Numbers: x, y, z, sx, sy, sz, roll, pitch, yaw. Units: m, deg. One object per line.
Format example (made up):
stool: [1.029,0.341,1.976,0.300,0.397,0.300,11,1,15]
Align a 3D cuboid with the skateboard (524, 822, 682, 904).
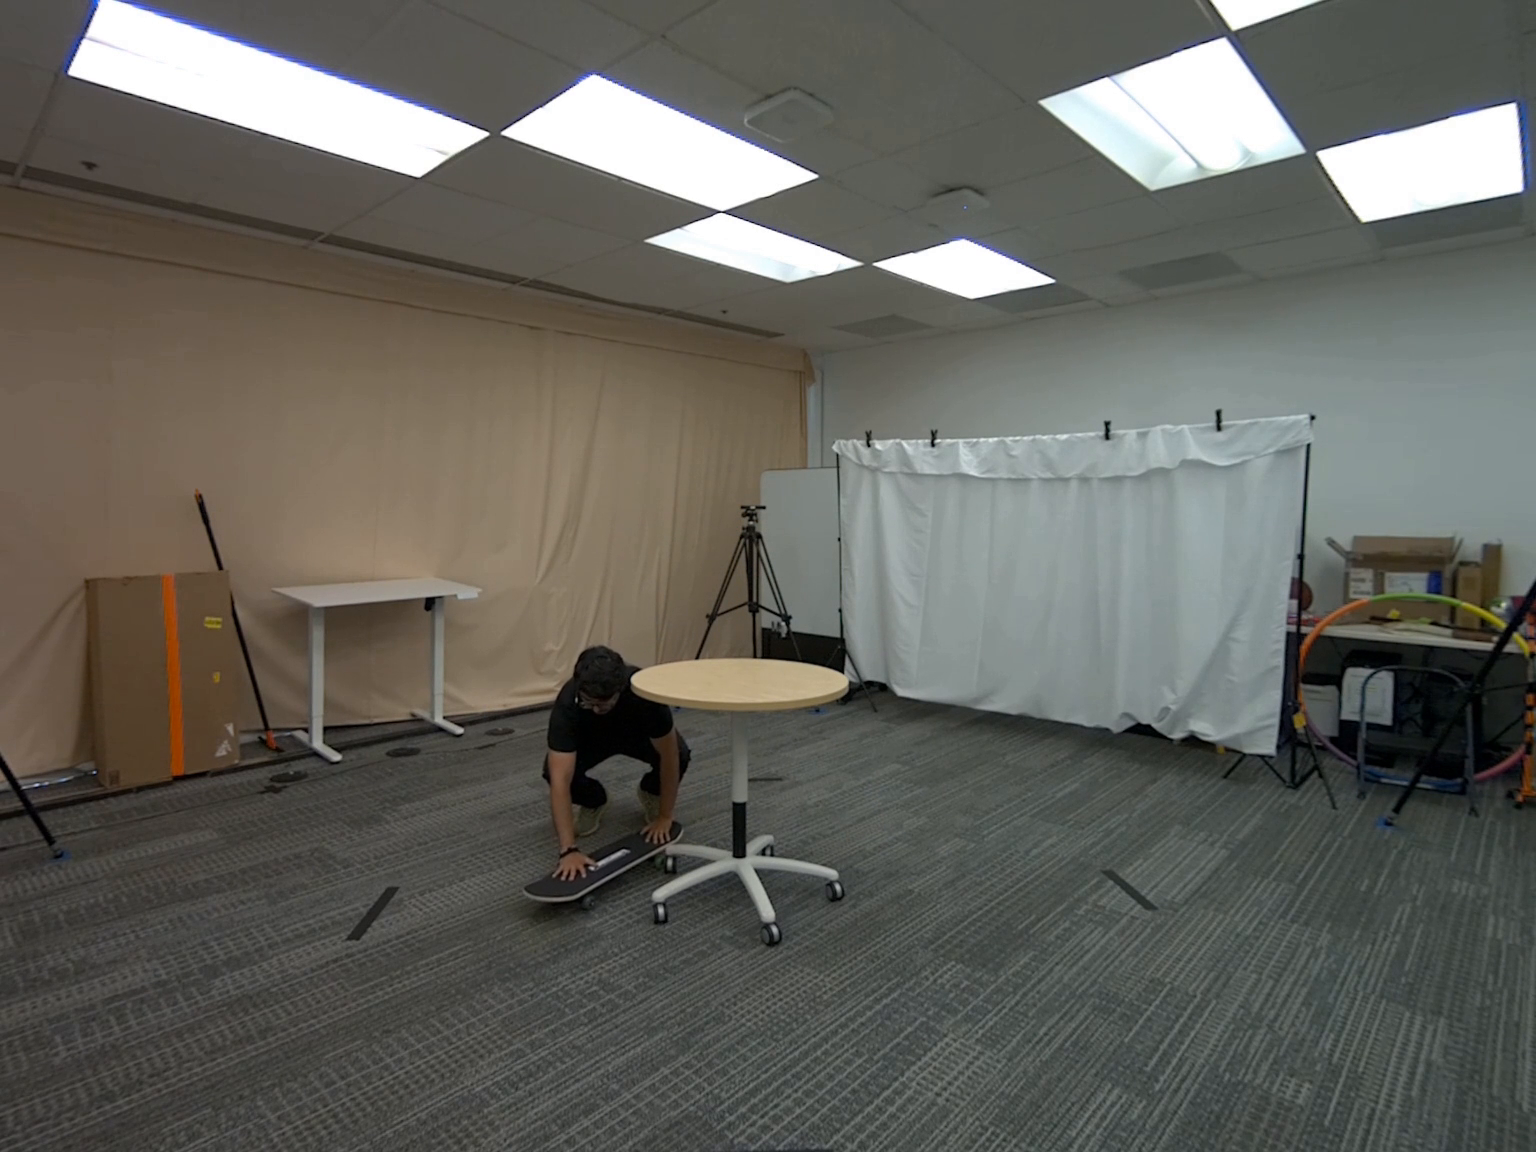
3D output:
skateboard: [-0.570,1.073,3.108,0.199,0.110,0.763,0,5,34]
